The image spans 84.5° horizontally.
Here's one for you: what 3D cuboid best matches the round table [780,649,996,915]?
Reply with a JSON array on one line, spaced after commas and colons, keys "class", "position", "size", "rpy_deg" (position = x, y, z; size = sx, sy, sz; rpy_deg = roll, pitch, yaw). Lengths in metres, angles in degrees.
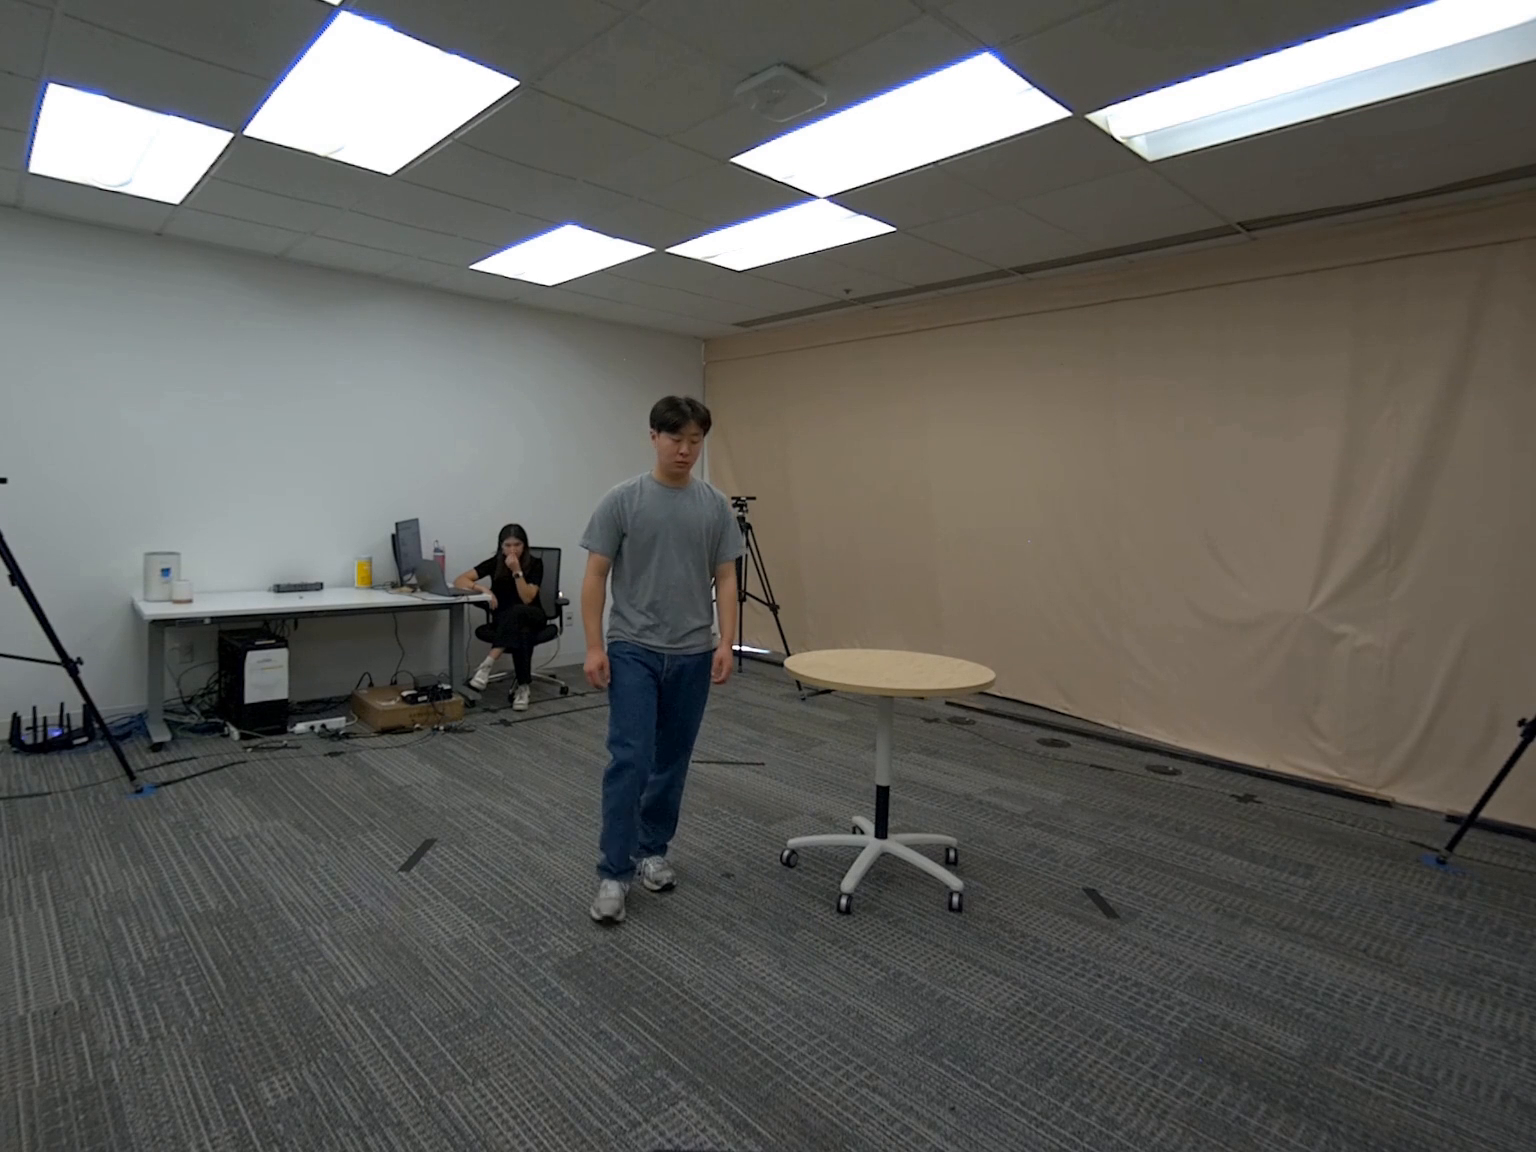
[{"class": "round table", "position": [0.416, 0.728, 3.131], "size": [0.763, 0.792, 0.766], "rpy_deg": [2, 4, -1]}]
